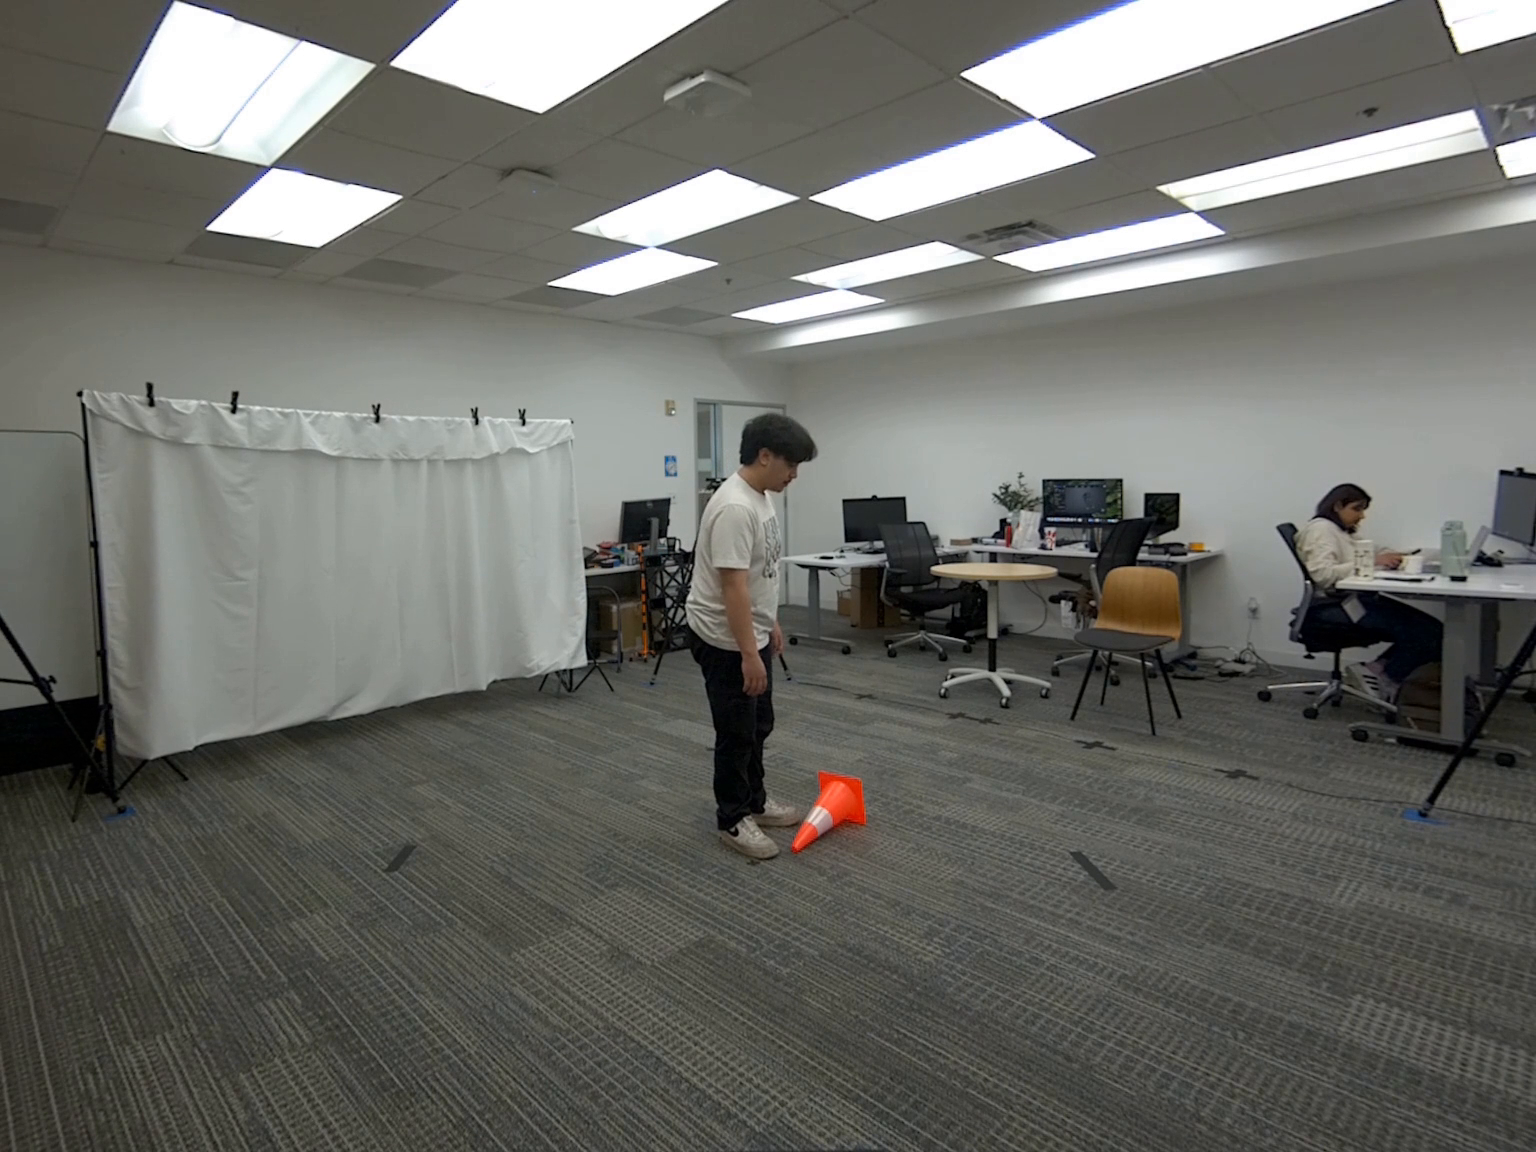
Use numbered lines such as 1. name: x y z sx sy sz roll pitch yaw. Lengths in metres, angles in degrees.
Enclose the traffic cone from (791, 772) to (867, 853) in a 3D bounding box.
1. traffic cone: 0.201 0.960 3.323 0.211 0.200 0.379 1 19 34
